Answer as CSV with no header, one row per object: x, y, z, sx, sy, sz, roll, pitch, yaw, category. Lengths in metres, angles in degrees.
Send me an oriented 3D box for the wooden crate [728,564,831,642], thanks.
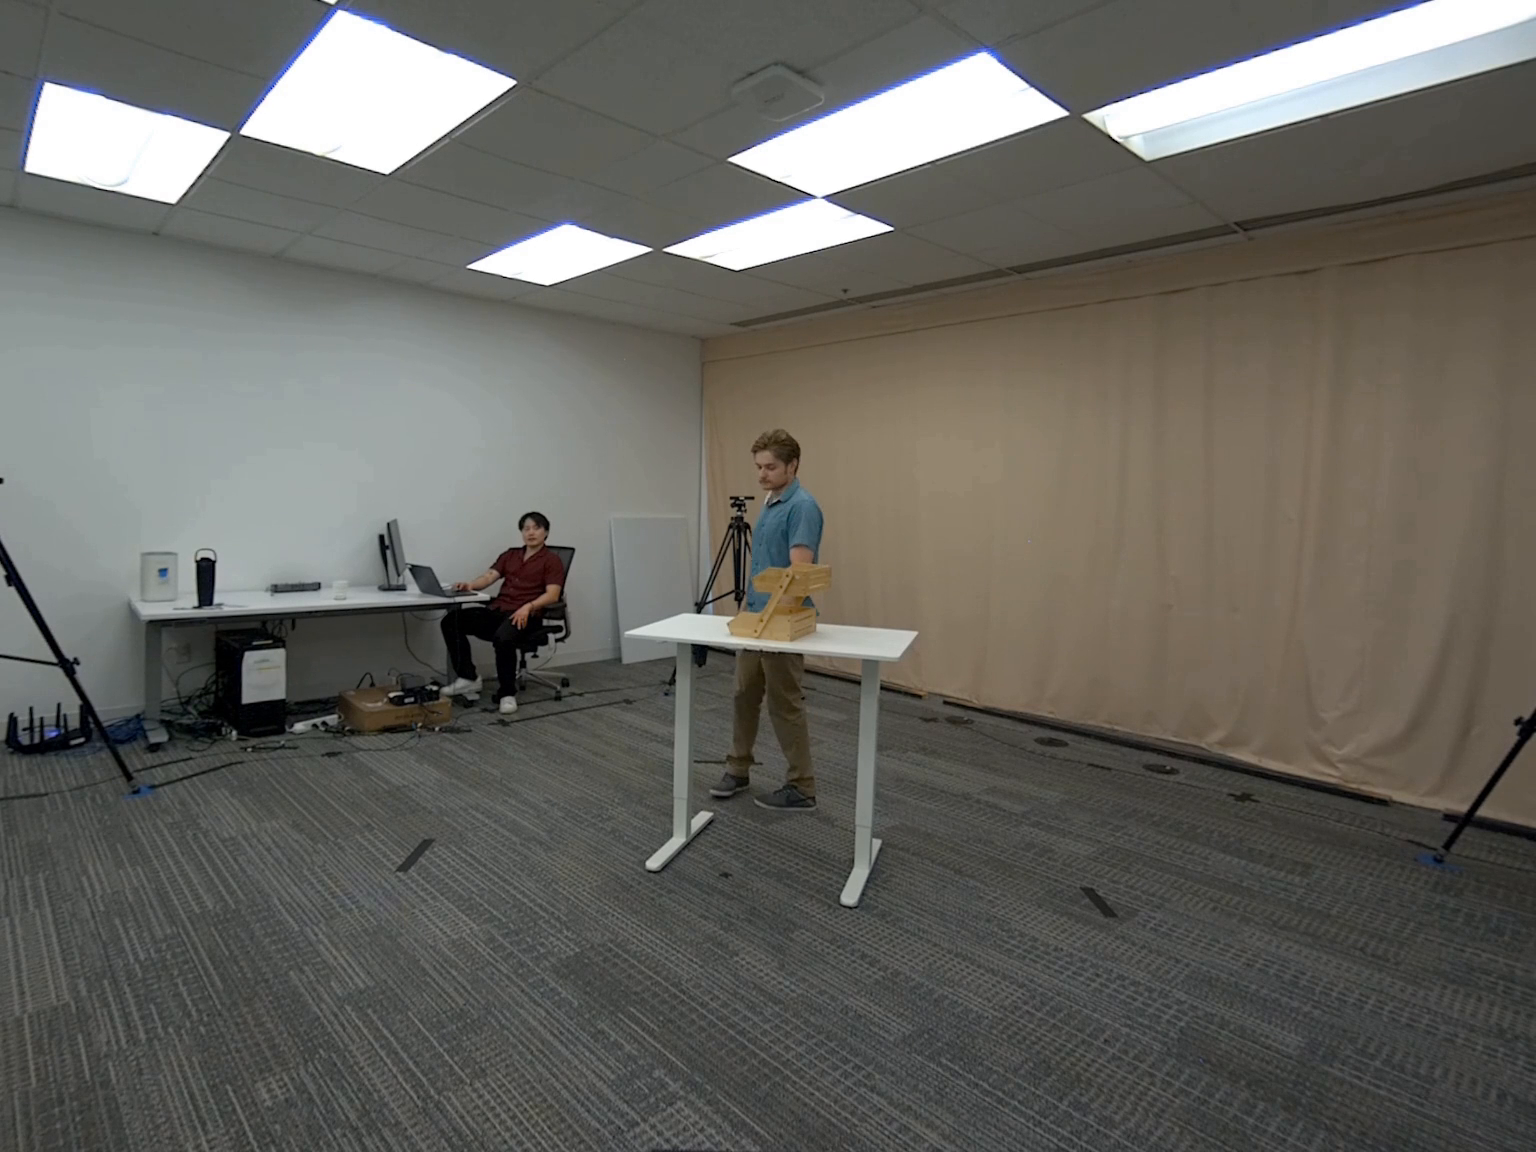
0.034,0.088,3.176,0.307,0.272,0.319,4,5,23,wooden crate
